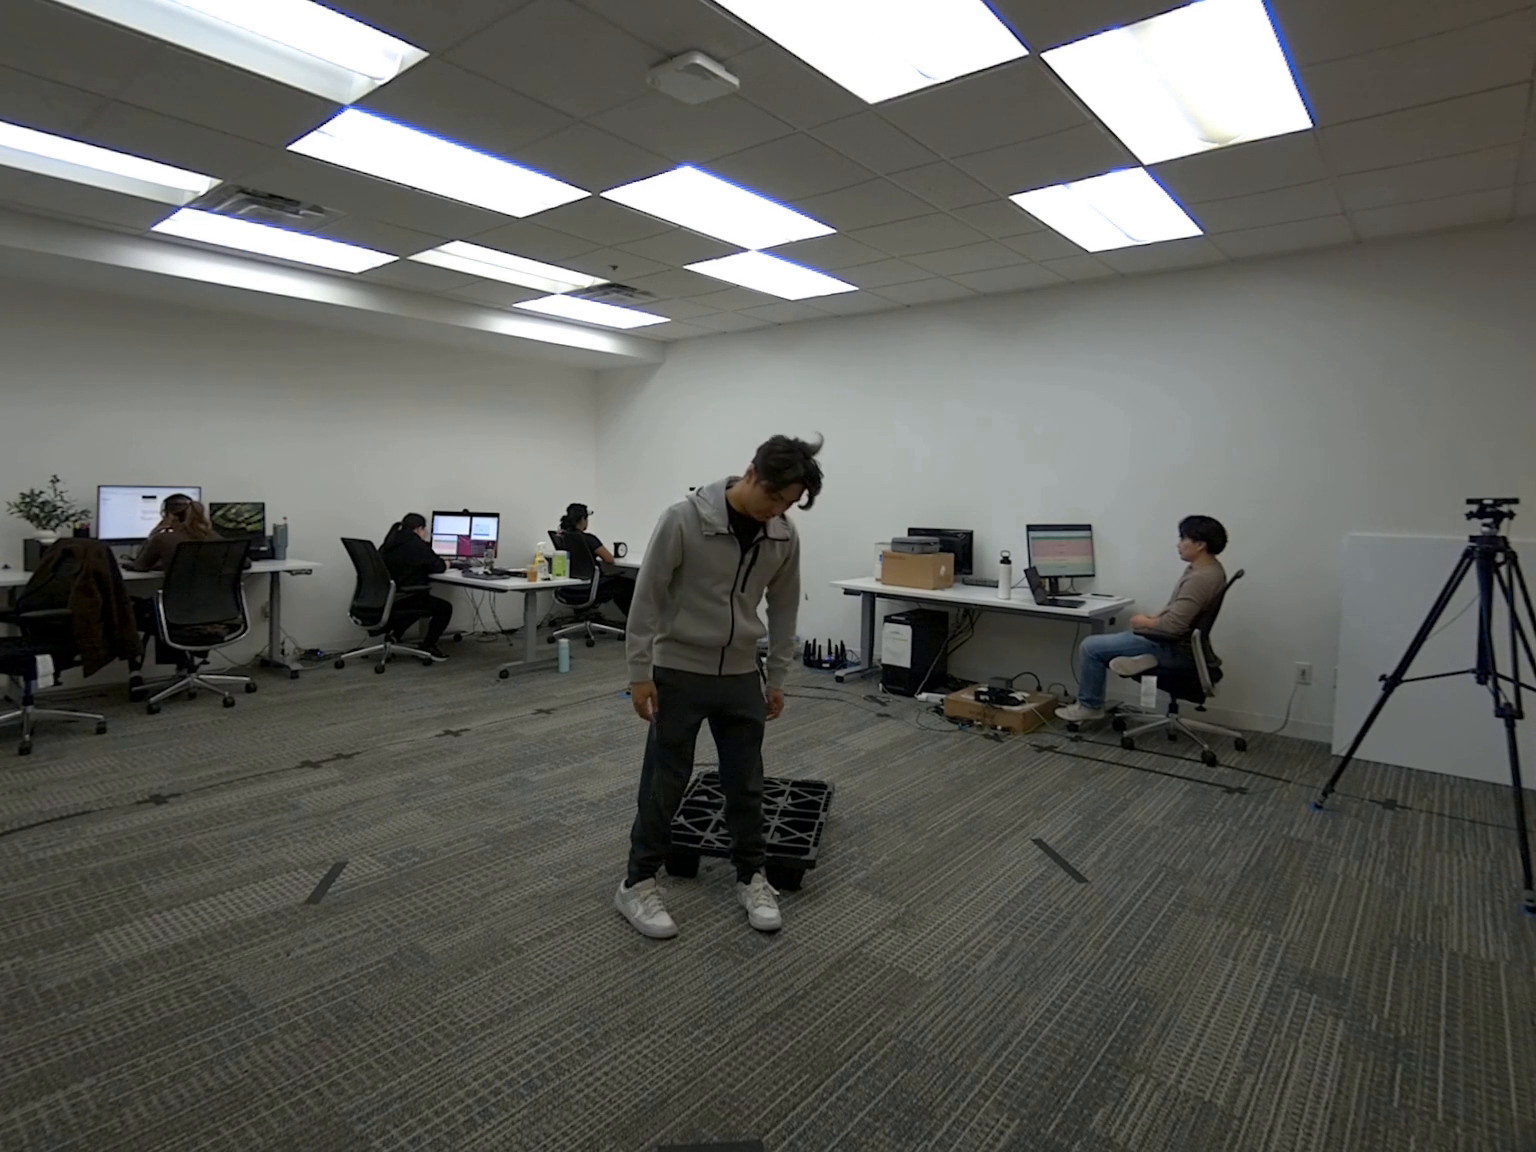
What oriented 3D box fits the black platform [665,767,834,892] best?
[{"bbox_3d":[-0.080,0.980,3.348,0.613,0.143,0.798,2,6,10],"label":"black platform"}]
